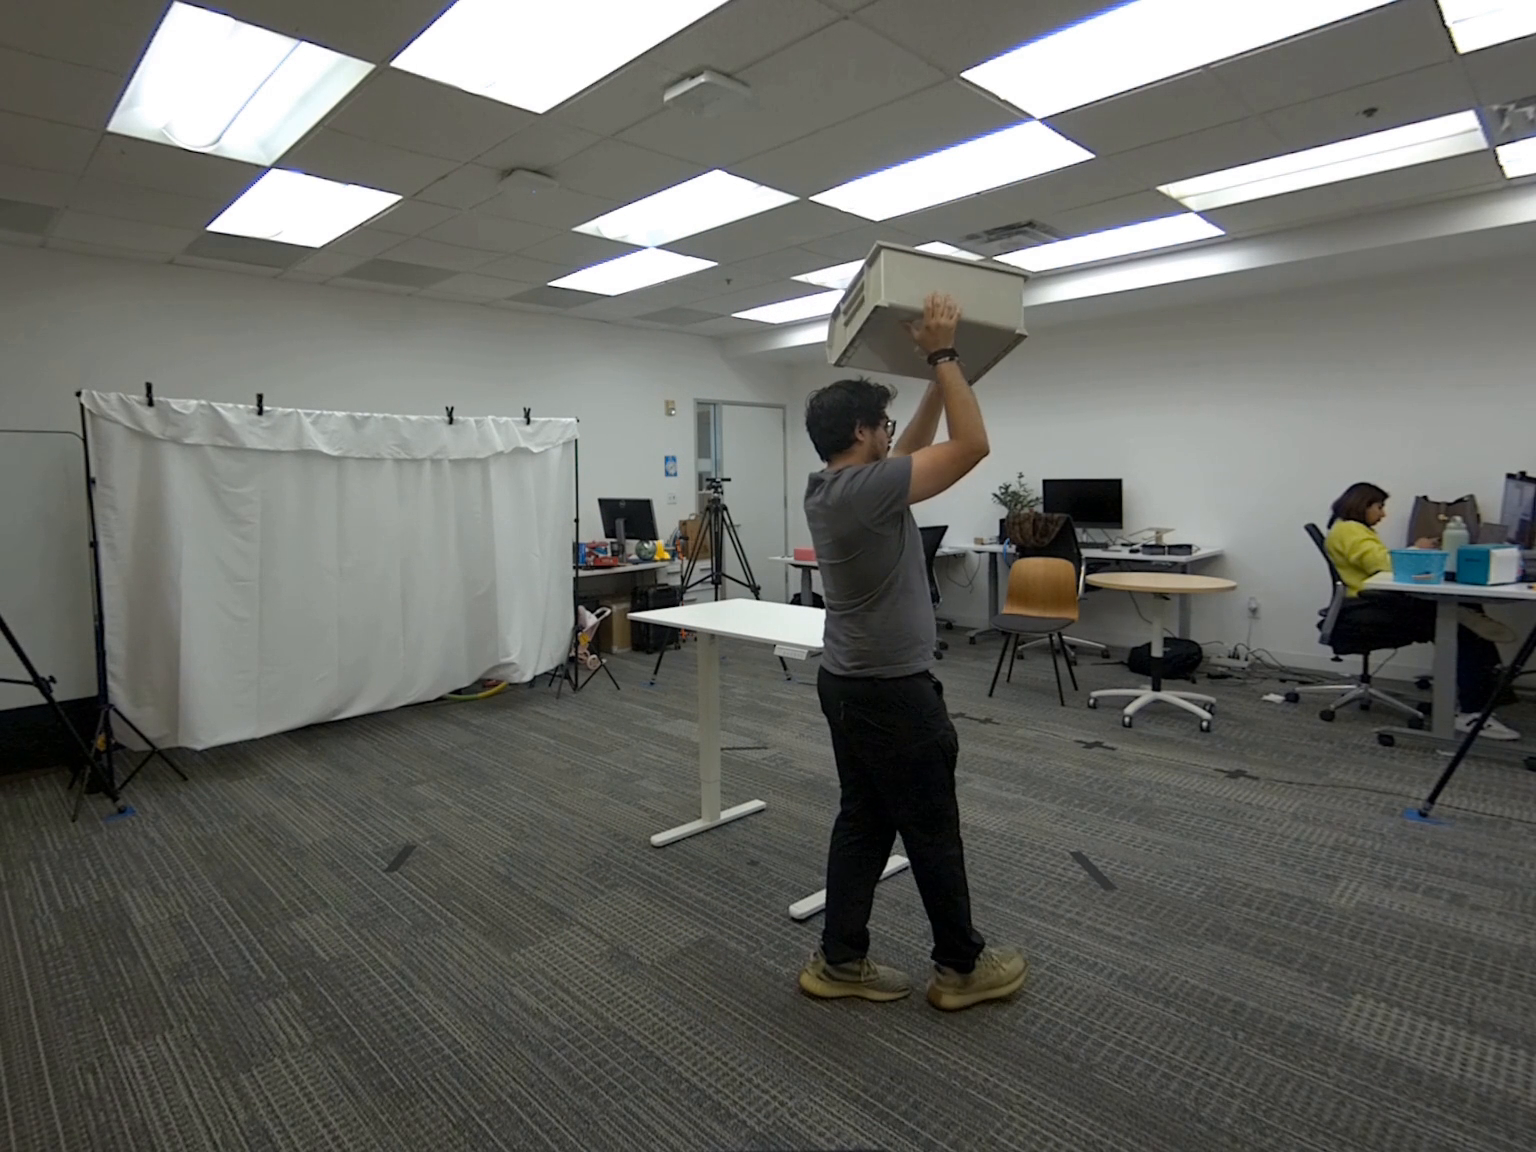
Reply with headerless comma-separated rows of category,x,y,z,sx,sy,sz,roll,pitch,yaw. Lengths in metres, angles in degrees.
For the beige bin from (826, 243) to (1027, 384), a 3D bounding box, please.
beige bin,0.422,-0.677,2.302,0.416,0.191,0.377,9,-16,-13
